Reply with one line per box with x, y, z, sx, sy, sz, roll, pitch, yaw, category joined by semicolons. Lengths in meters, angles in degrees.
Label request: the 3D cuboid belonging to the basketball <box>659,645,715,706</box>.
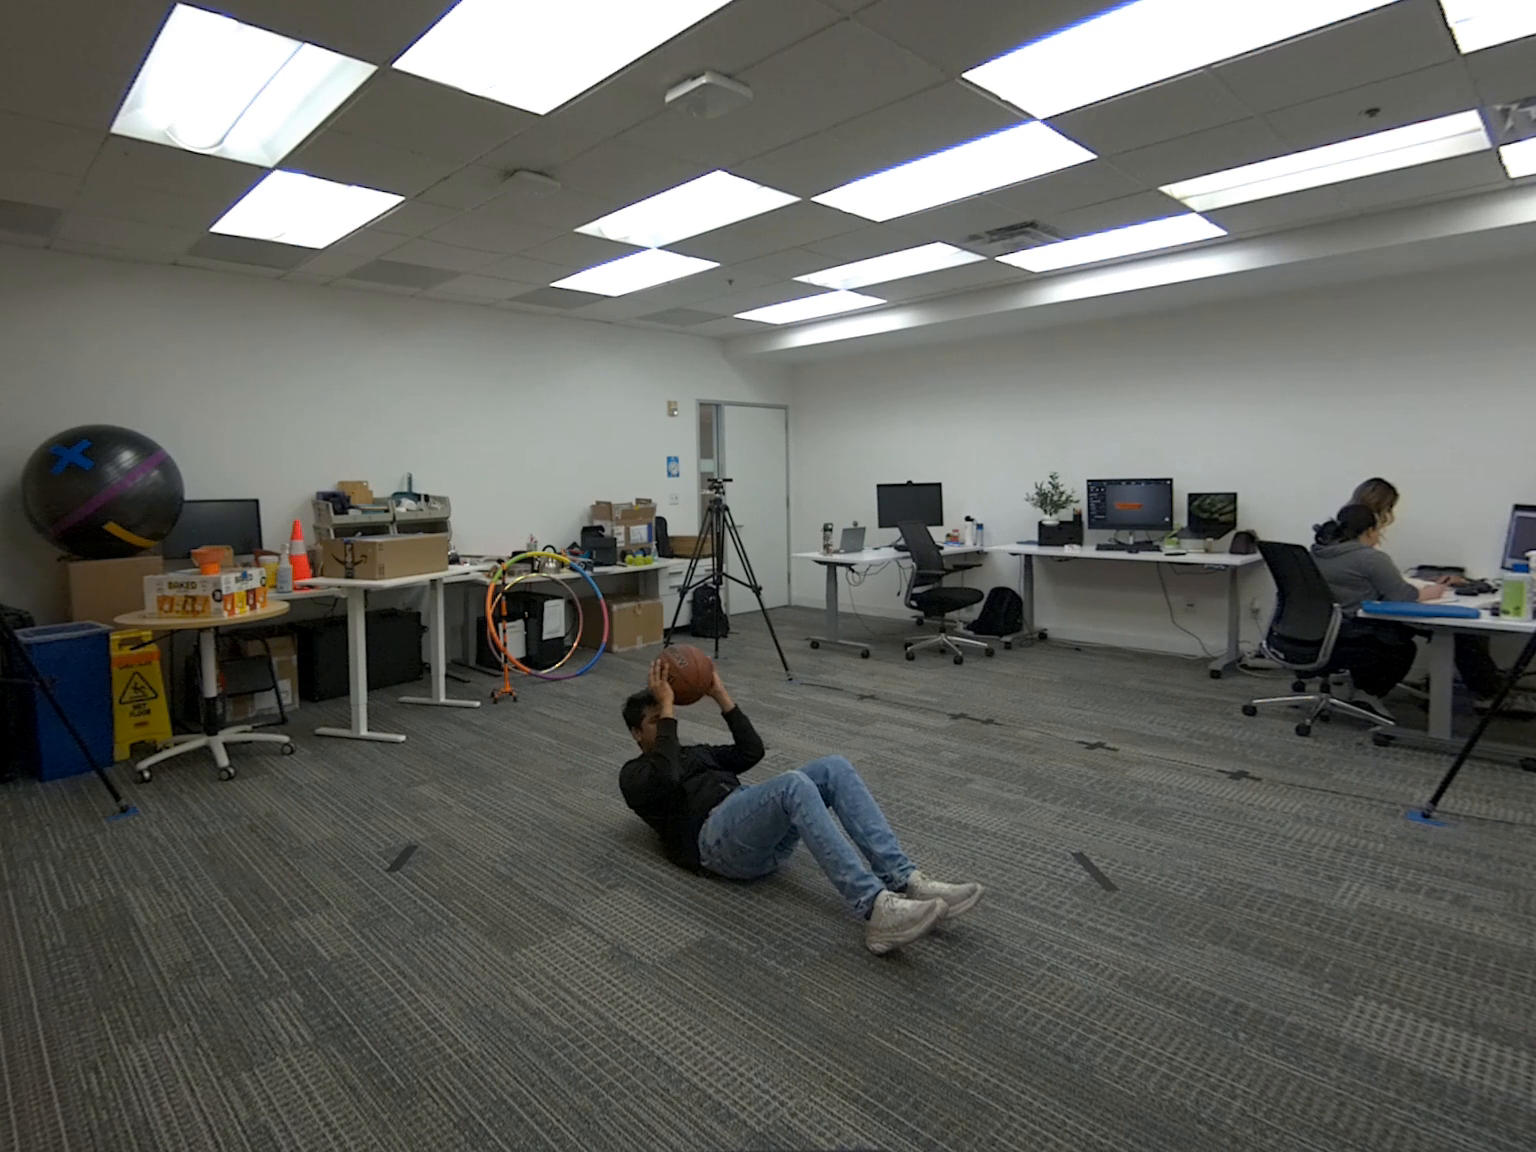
-0.349;0.396;3.339;0.236;0.235;0.237;-1;5;-2;basketball
